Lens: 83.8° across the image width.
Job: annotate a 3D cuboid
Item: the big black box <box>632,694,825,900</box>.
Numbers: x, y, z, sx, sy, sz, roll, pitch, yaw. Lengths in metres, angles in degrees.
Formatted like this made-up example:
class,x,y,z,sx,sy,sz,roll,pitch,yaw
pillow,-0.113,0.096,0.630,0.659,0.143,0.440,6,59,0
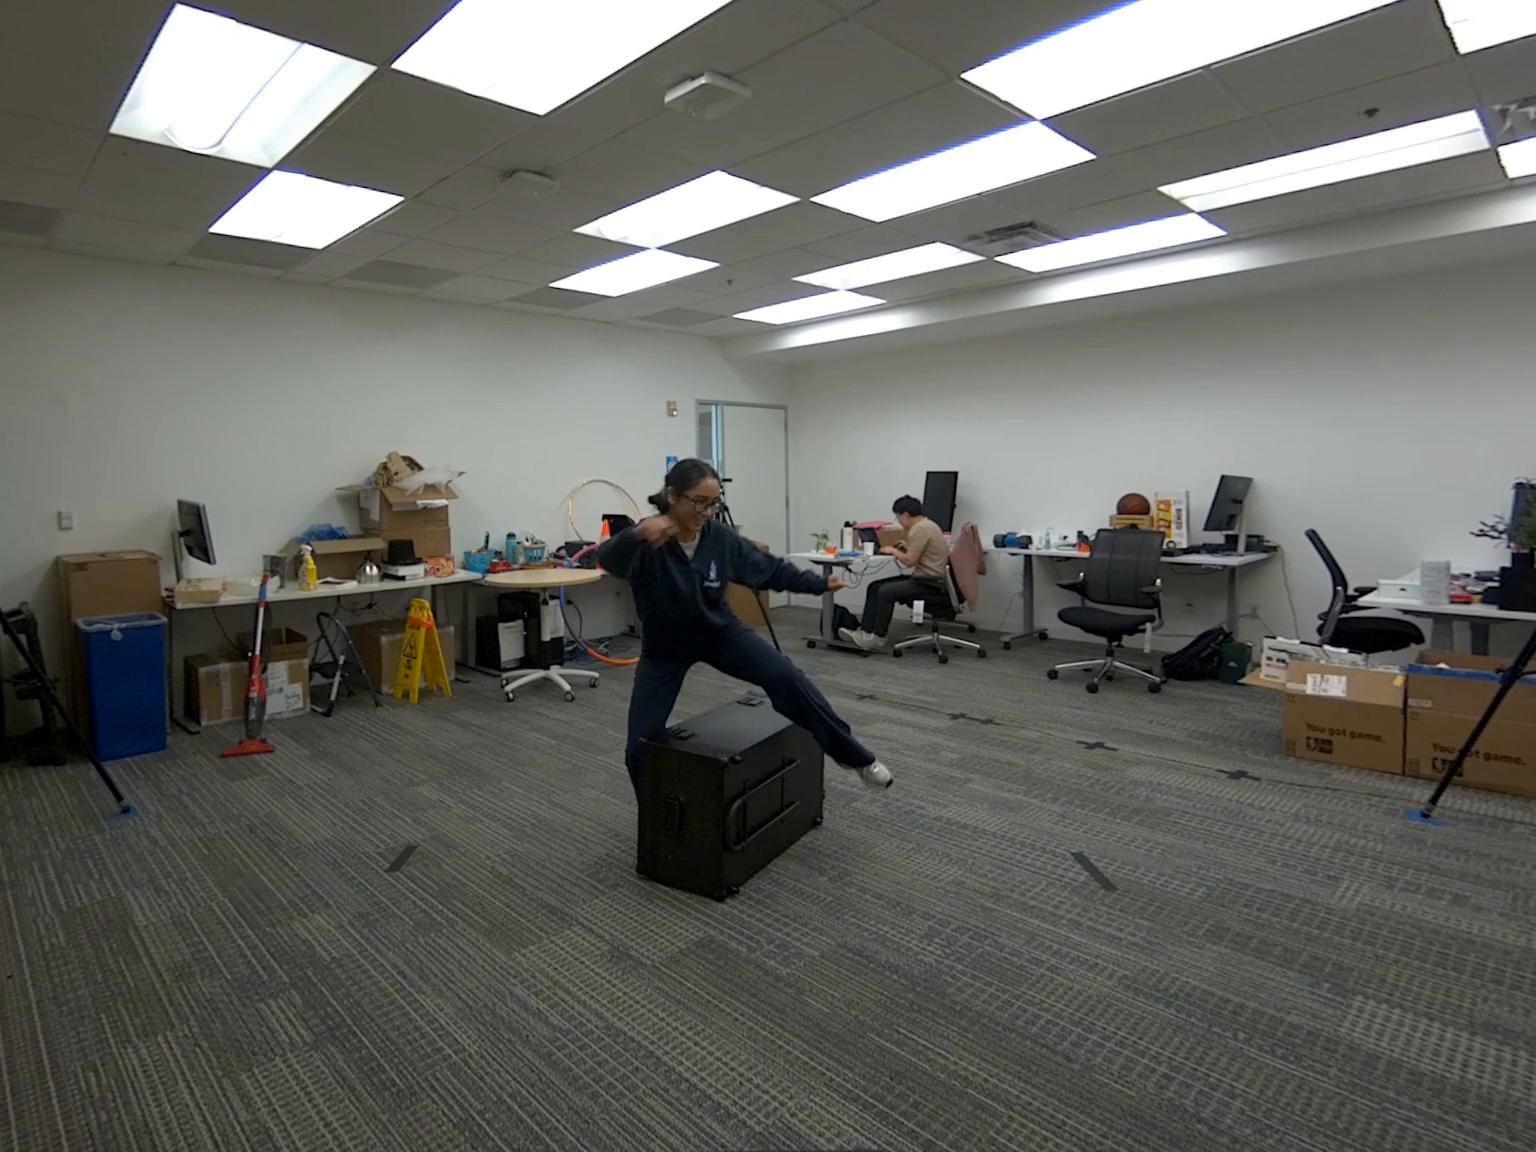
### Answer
class,x,y,z,sx,sy,sz,roll,pitch,yaw
big black box,-0.083,0.777,3.237,0.407,0.518,0.843,4,8,29
